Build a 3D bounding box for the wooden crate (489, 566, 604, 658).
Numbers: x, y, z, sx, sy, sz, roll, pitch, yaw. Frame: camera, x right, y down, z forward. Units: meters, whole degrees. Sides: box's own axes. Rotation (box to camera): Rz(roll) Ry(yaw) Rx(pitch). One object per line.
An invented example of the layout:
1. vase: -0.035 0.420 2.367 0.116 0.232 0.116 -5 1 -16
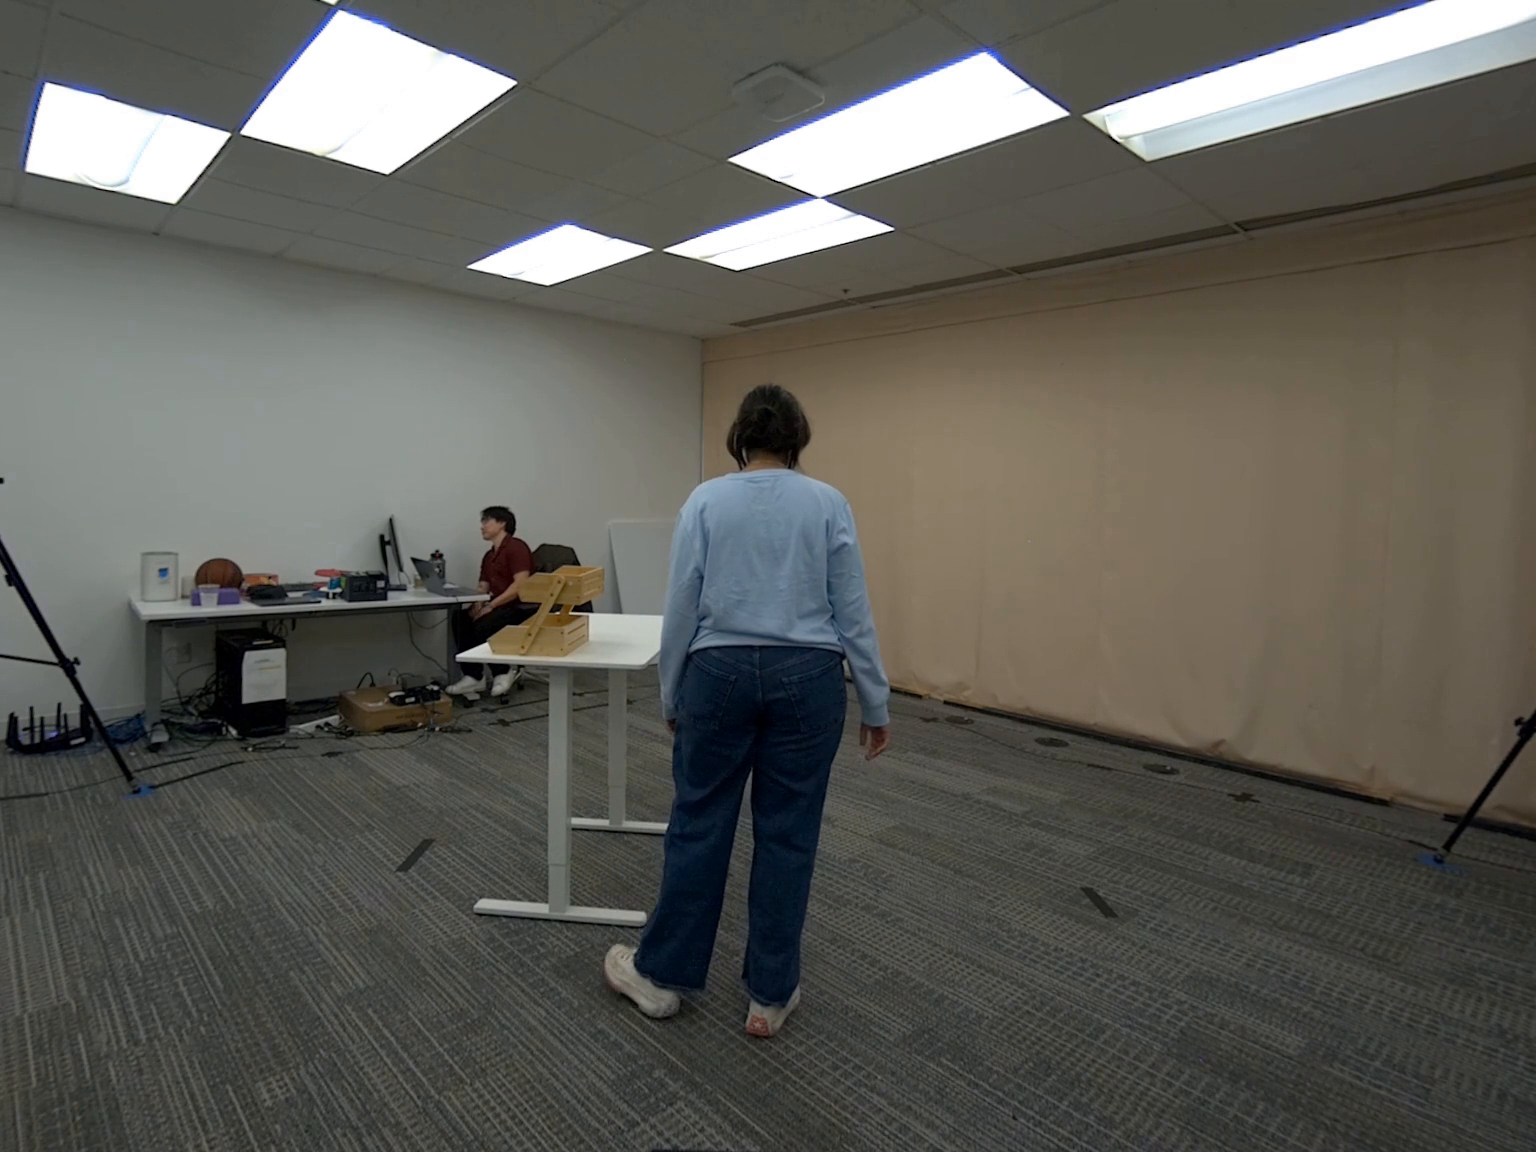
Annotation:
1. wooden crate: -0.742 0.106 2.786 0.303 0.272 0.325 3 5 2
